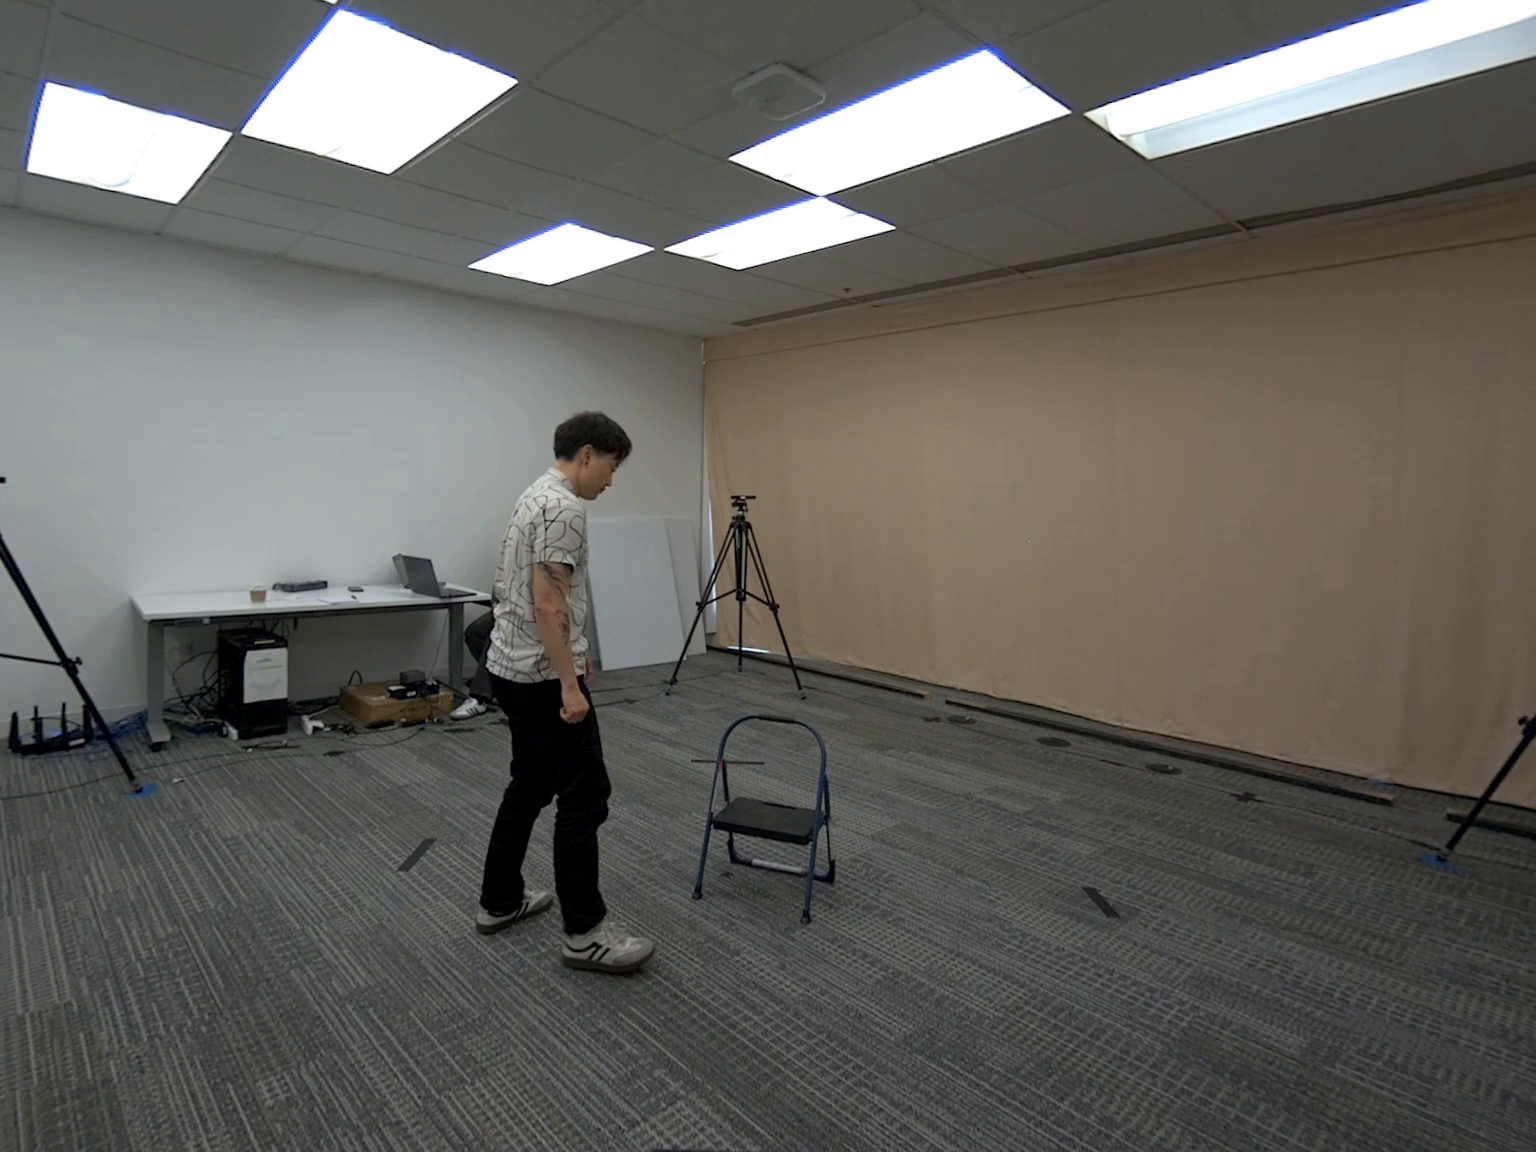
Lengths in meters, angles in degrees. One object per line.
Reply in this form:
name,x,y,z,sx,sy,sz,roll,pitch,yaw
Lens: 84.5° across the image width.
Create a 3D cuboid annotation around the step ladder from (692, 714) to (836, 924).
step ladder,-0.003,0.814,2.973,0.438,0.604,0.344,3,4,22
